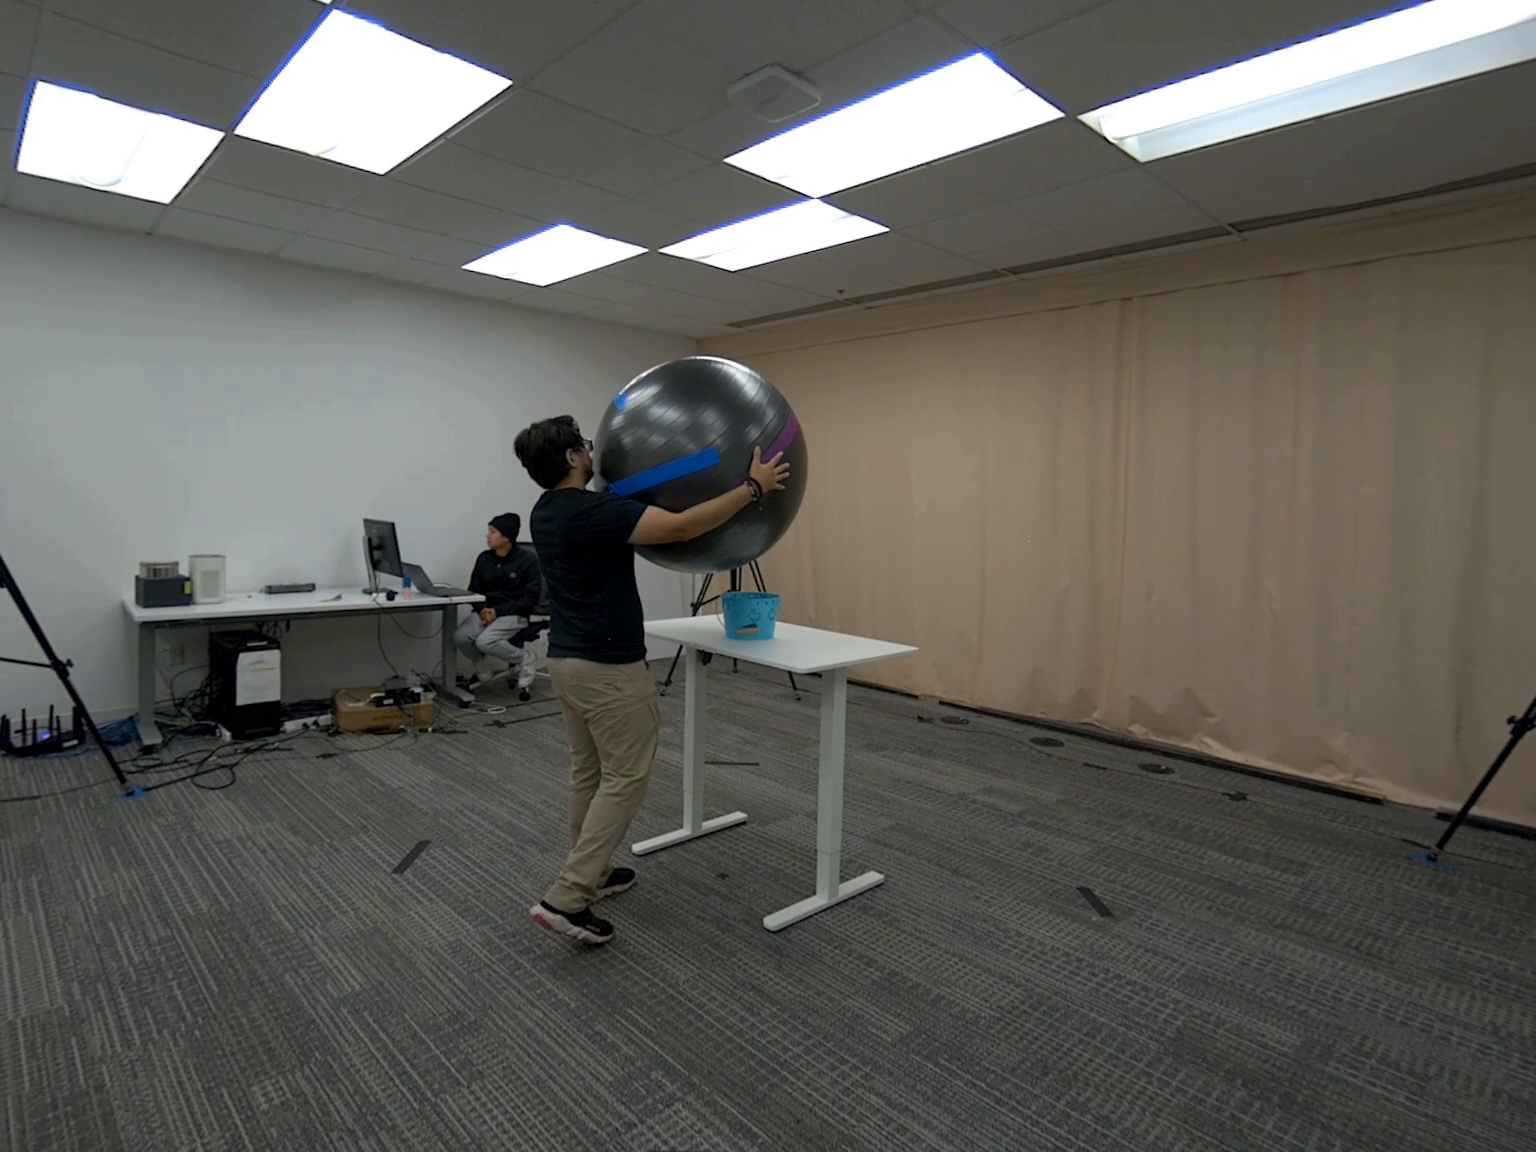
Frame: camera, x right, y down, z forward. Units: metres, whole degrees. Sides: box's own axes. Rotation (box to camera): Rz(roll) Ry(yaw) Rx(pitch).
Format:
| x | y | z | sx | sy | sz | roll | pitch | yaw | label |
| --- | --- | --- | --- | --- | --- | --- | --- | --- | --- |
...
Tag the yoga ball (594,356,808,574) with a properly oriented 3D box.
| x | y | z | sx | sy | sz | roll | pitch | yaw | label |
| --- | --- | --- | --- | --- | --- | --- | --- | --- | --- |
| -0.230 | -0.380 | 2.958 | 0.757 | 0.756 | 0.761 | 1 | 4 | -1 | yoga ball |
